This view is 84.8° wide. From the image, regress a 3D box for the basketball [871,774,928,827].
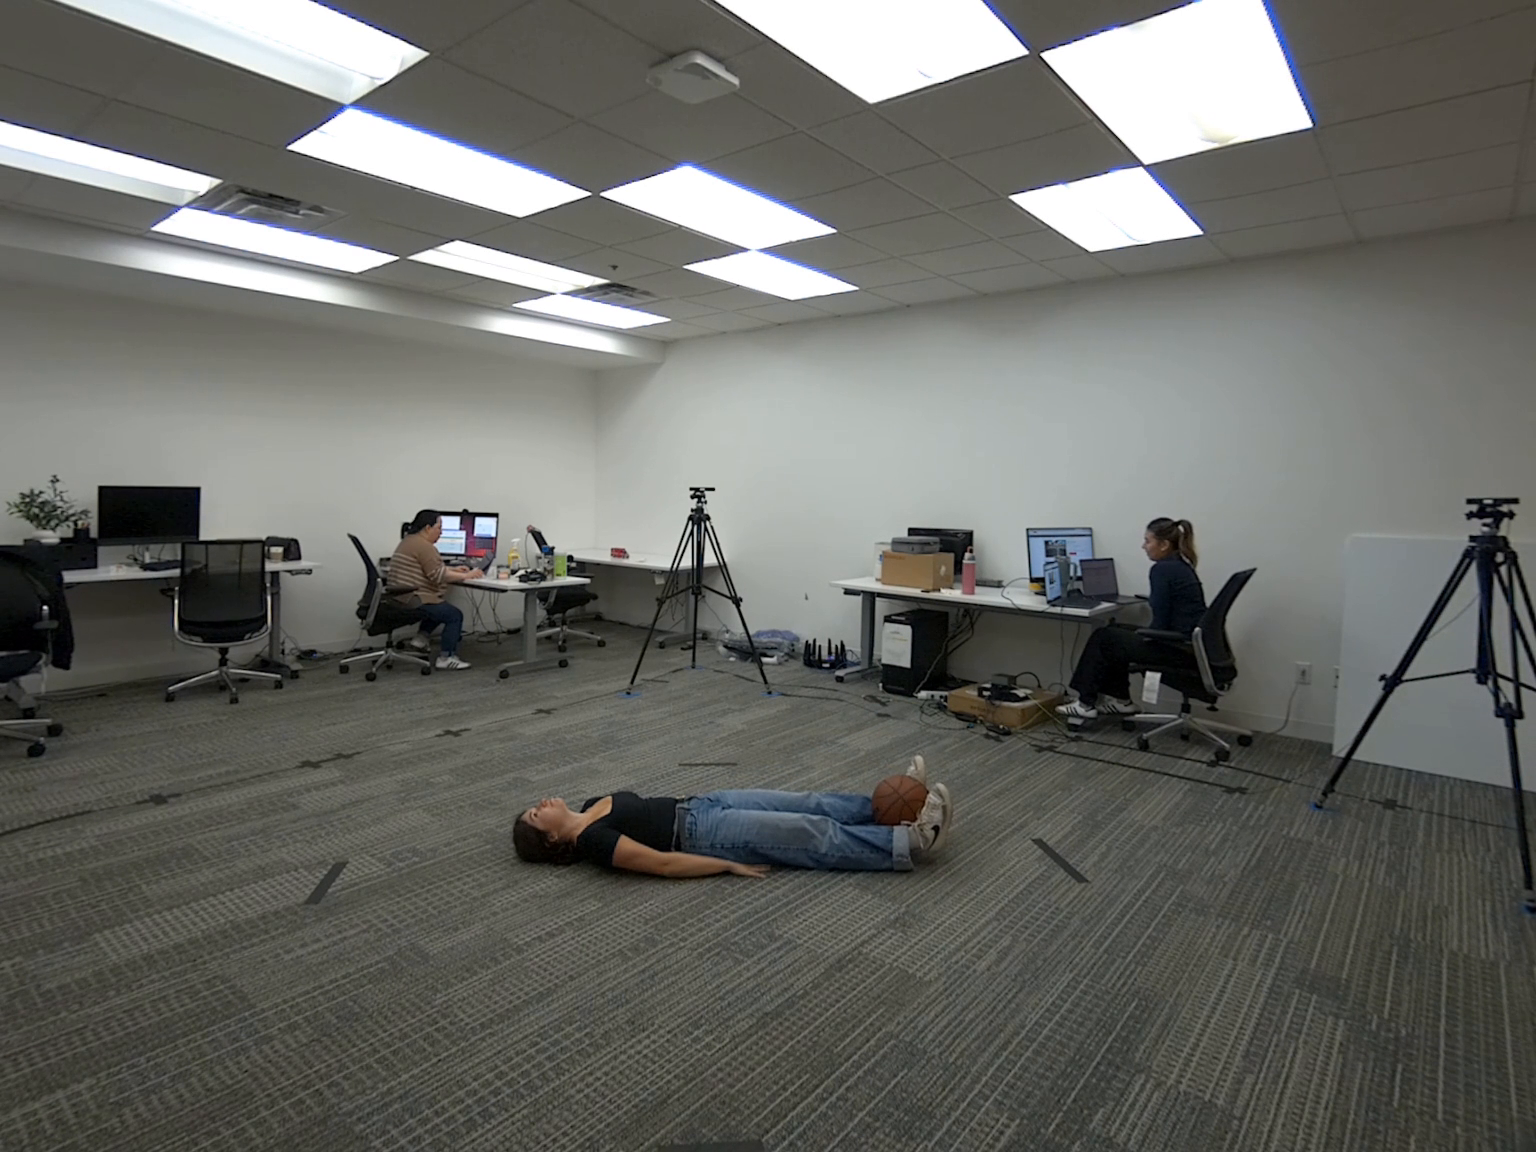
[{"bbox_3d":[0.515,0.890,3.316,0.235,0.235,0.237,1,4,-2],"label":"basketball"}]
